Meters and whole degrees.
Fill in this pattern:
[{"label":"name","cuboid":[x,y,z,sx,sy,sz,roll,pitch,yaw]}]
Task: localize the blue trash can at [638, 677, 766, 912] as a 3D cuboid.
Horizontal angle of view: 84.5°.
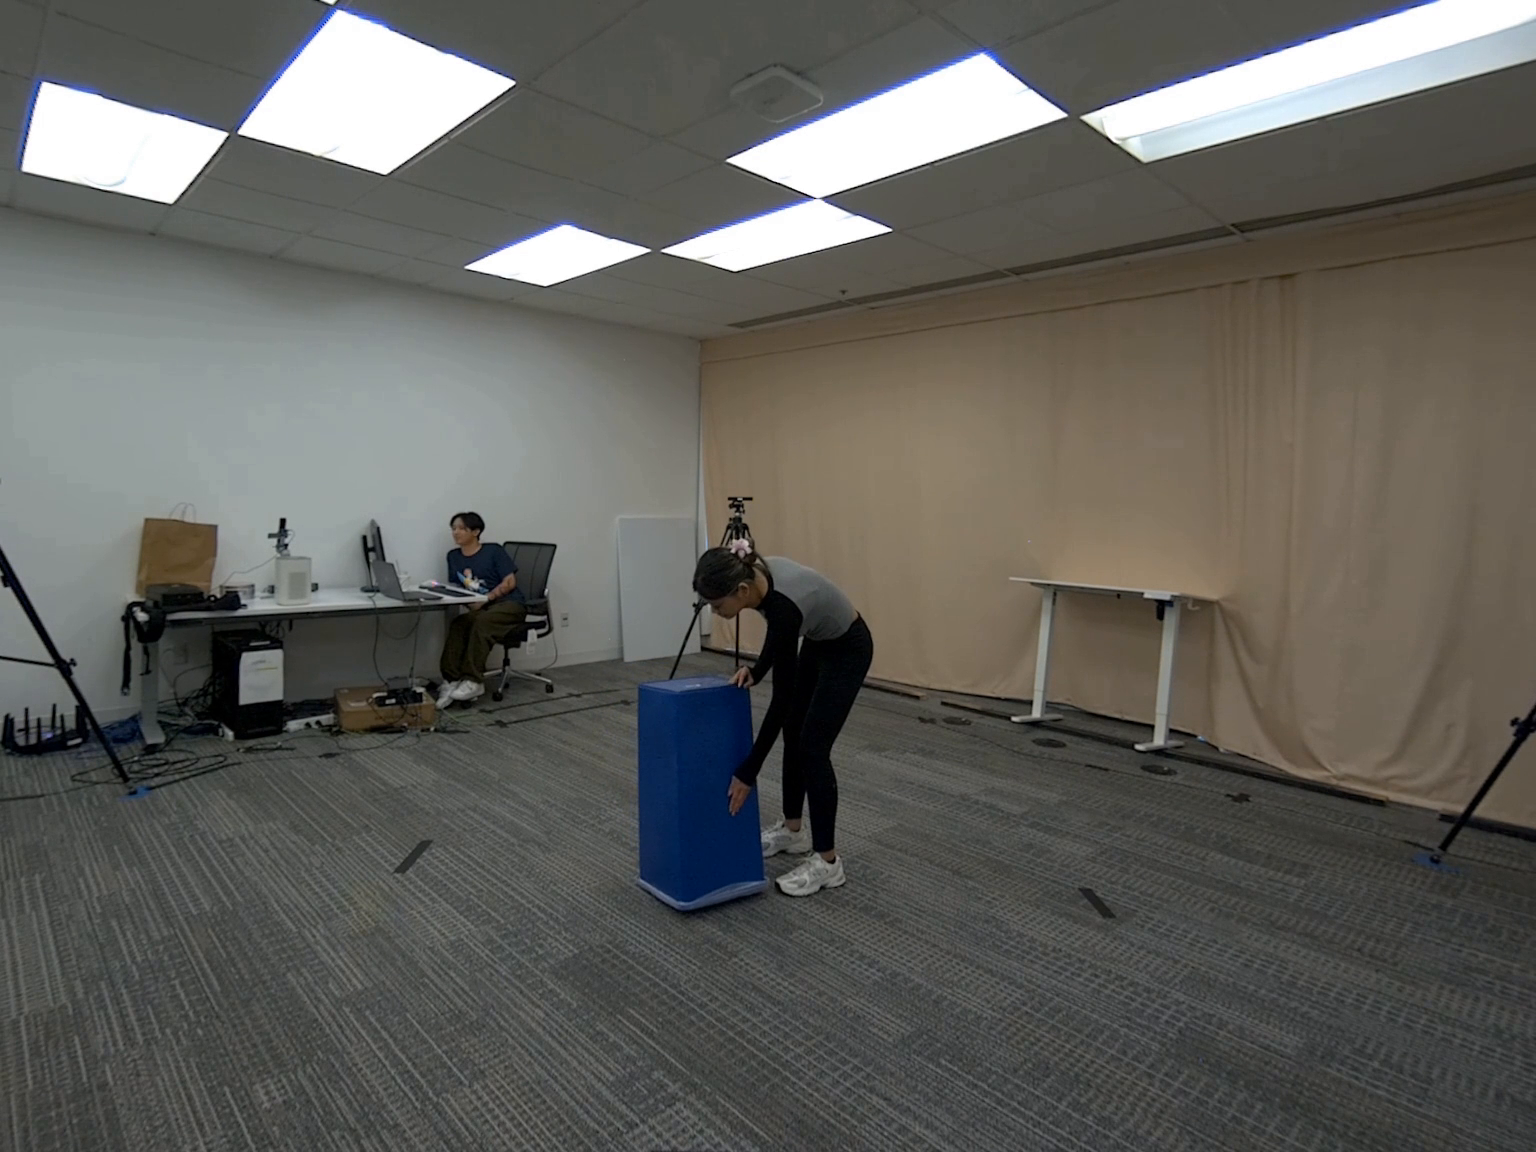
[{"label":"blue trash can","cuboid":[-0.258,0.747,3.003,0.370,0.714,0.382,-1,-1,-34]}]
